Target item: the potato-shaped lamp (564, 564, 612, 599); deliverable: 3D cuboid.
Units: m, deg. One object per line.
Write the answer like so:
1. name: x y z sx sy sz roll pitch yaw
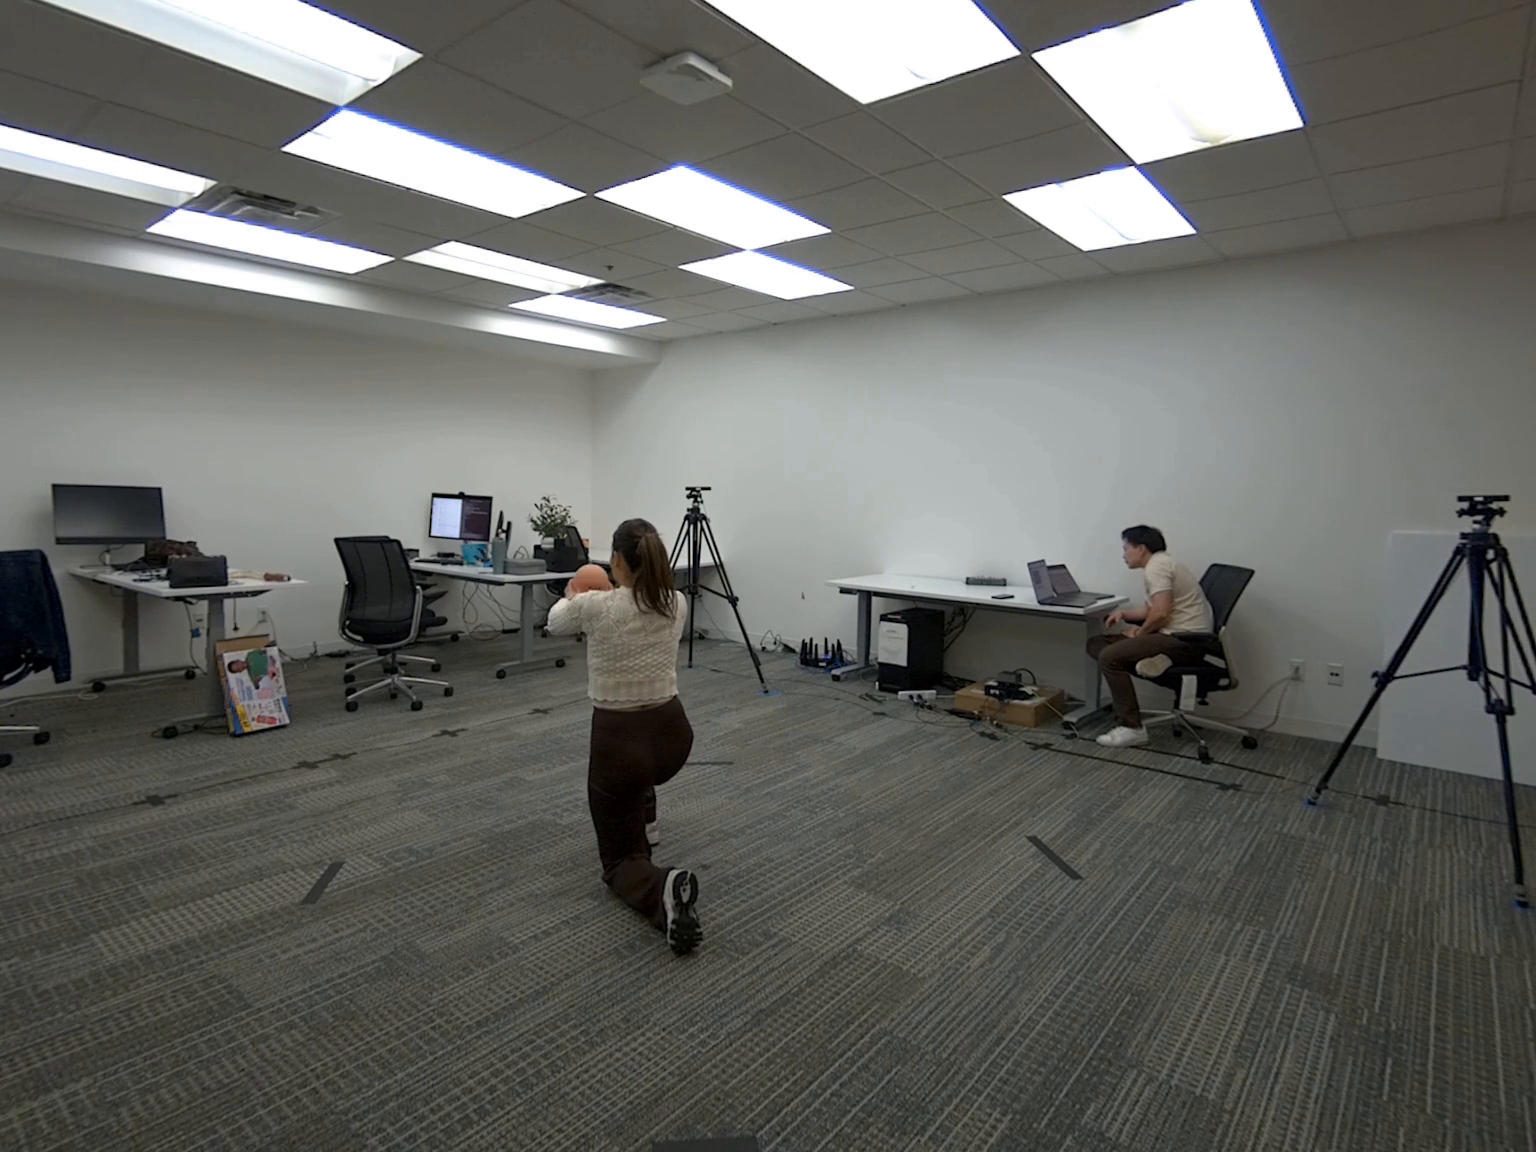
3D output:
1. potato-shaped lamp: -0.715 0.052 3.488 0.163 0.194 0.176 6 32 -10
